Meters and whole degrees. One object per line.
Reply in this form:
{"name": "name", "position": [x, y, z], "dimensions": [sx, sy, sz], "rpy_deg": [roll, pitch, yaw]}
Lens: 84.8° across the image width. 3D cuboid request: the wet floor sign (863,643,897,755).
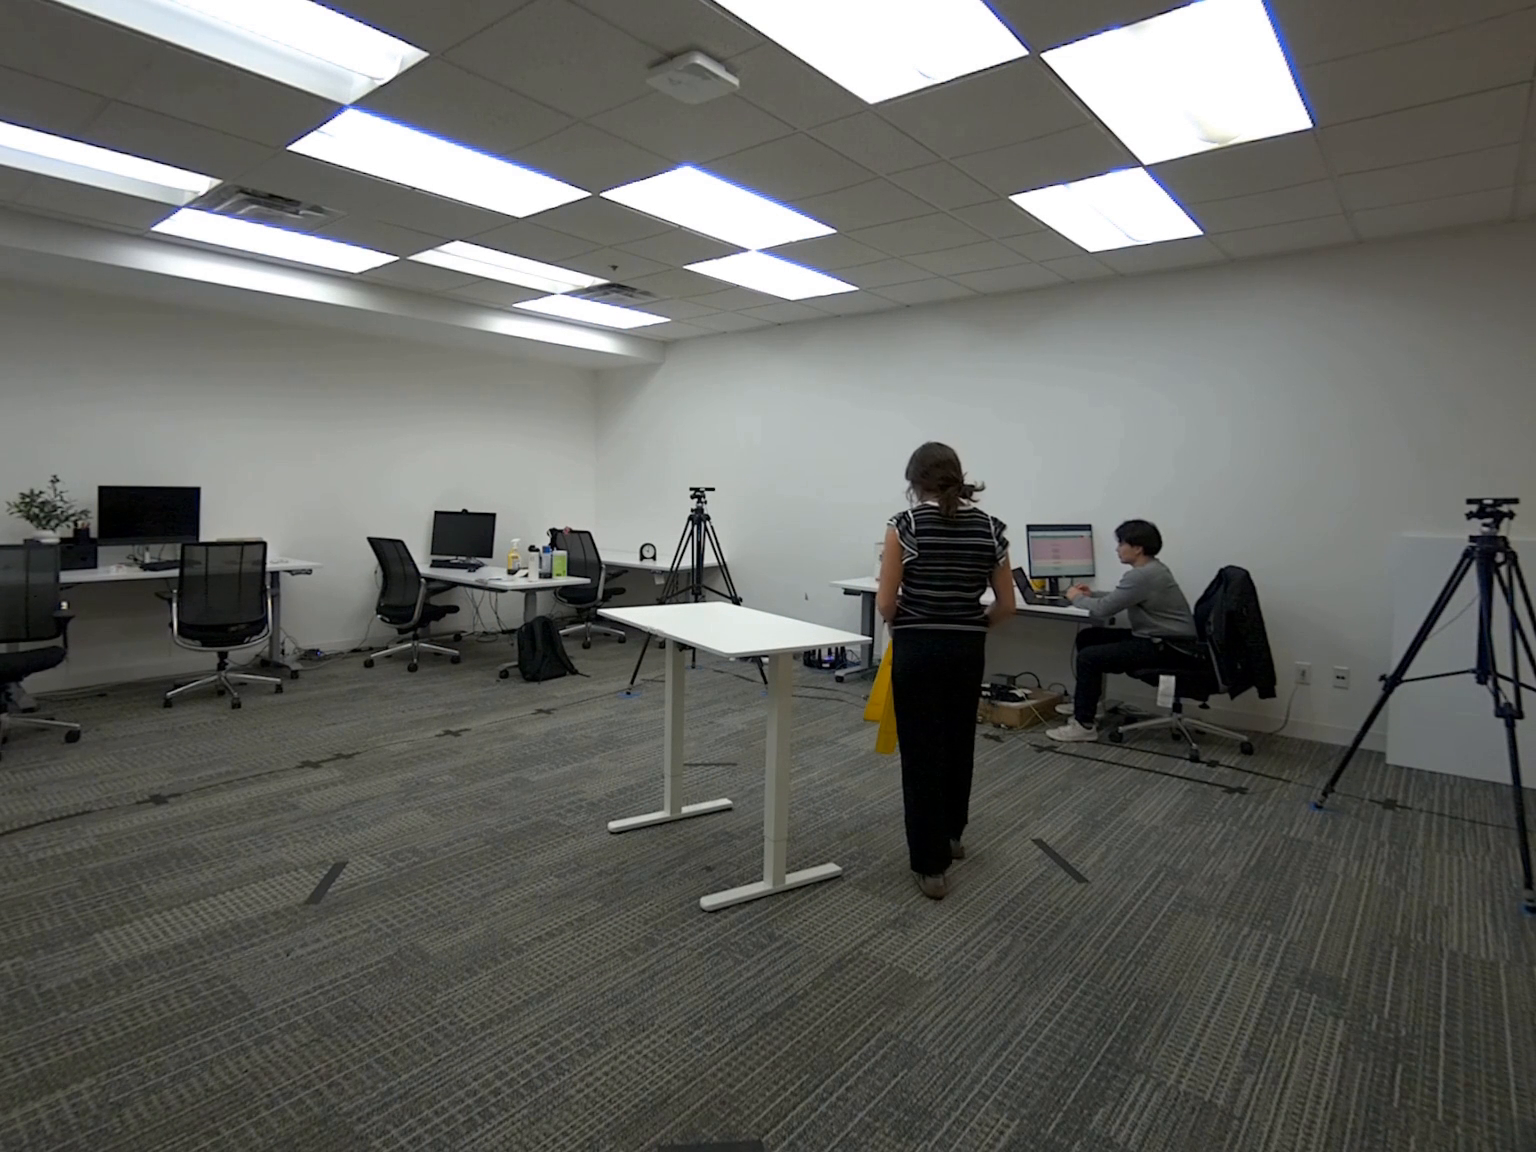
{"name": "wet floor sign", "position": [0.567, 0.355, 3.303], "dimensions": [0.280, 0.638, 0.296], "rpy_deg": [8, 18, -7]}
